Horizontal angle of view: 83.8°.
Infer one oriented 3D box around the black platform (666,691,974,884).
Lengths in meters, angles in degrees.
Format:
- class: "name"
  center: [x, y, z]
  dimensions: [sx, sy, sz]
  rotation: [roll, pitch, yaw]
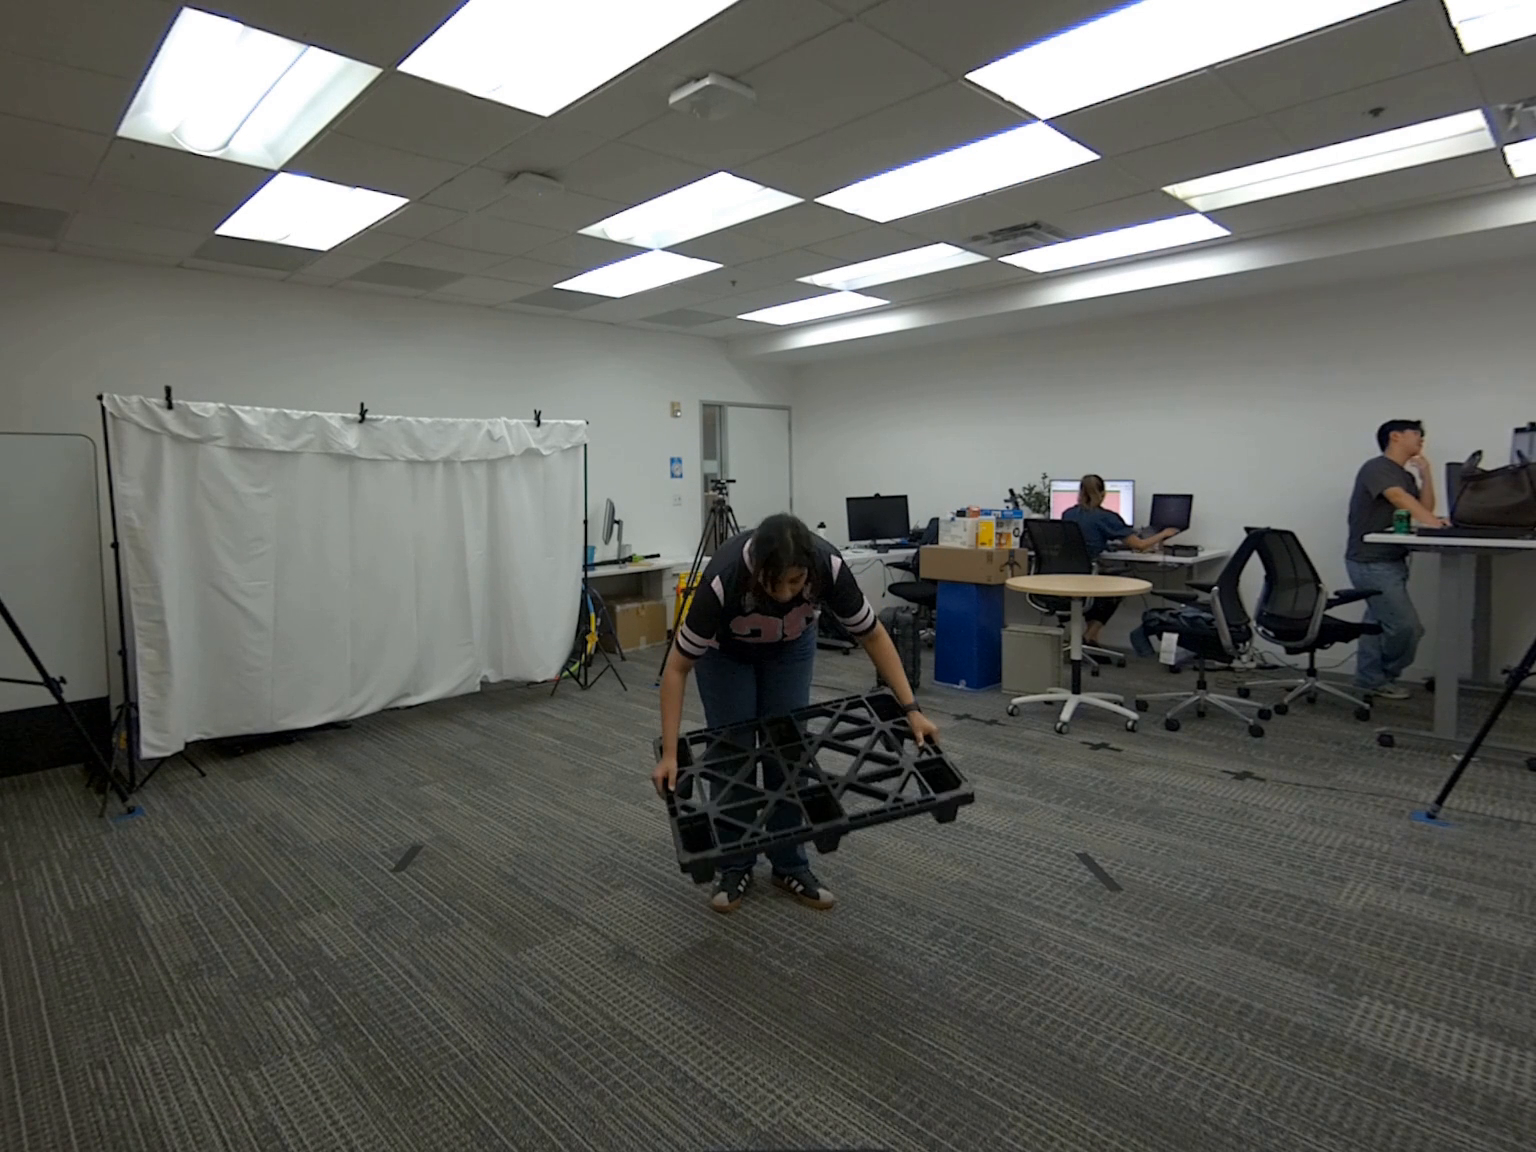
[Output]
- class: "black platform"
  center: [0.099, 0.601, 2.480]
  dimensions: [0.800, 0.141, 0.620]
  rotation: [-11, 20, -9]
